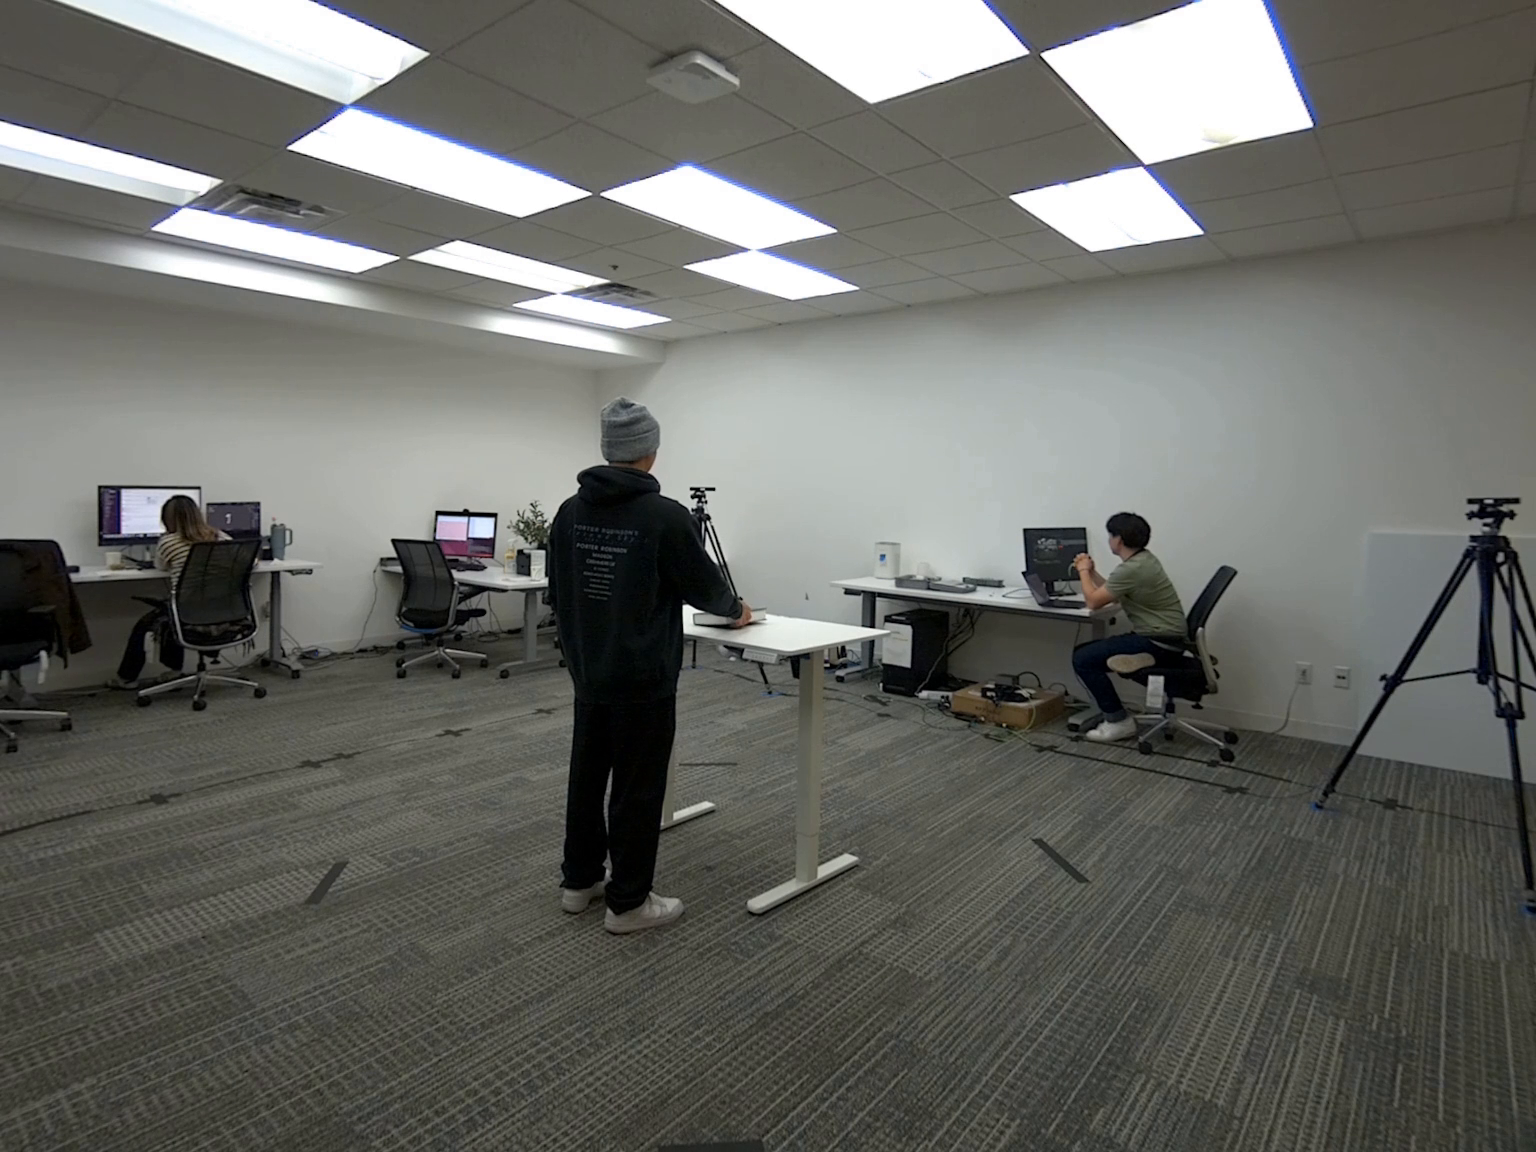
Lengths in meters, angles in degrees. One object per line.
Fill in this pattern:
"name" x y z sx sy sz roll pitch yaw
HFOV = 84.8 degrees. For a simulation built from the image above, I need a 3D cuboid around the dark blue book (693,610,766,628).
"dark blue book" -0.156 0.150 3.194 0.168 0.045 0.238 -1 3 40
